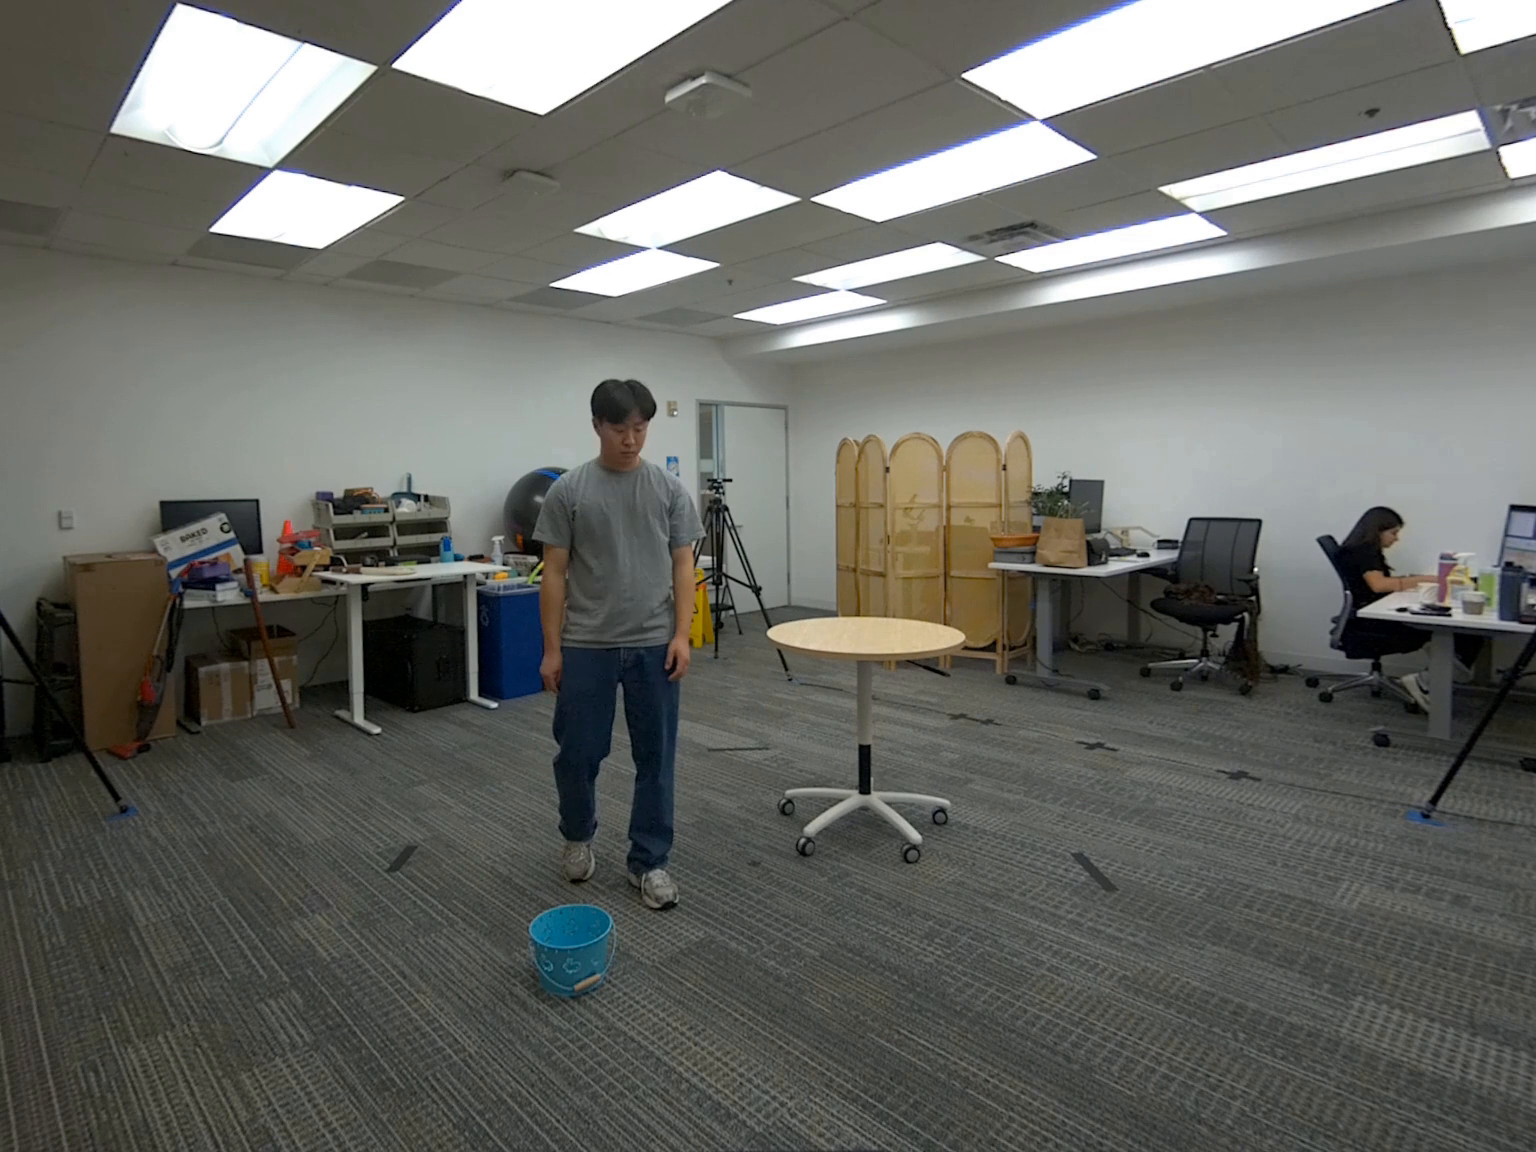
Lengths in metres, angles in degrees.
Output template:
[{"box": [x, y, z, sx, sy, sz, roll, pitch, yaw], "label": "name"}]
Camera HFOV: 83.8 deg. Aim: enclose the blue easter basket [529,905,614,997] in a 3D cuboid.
[{"box": [-0.553, 1.058, 2.411, 0.243, 0.155, 0.245, -1, 5, -2], "label": "blue easter basket"}]
